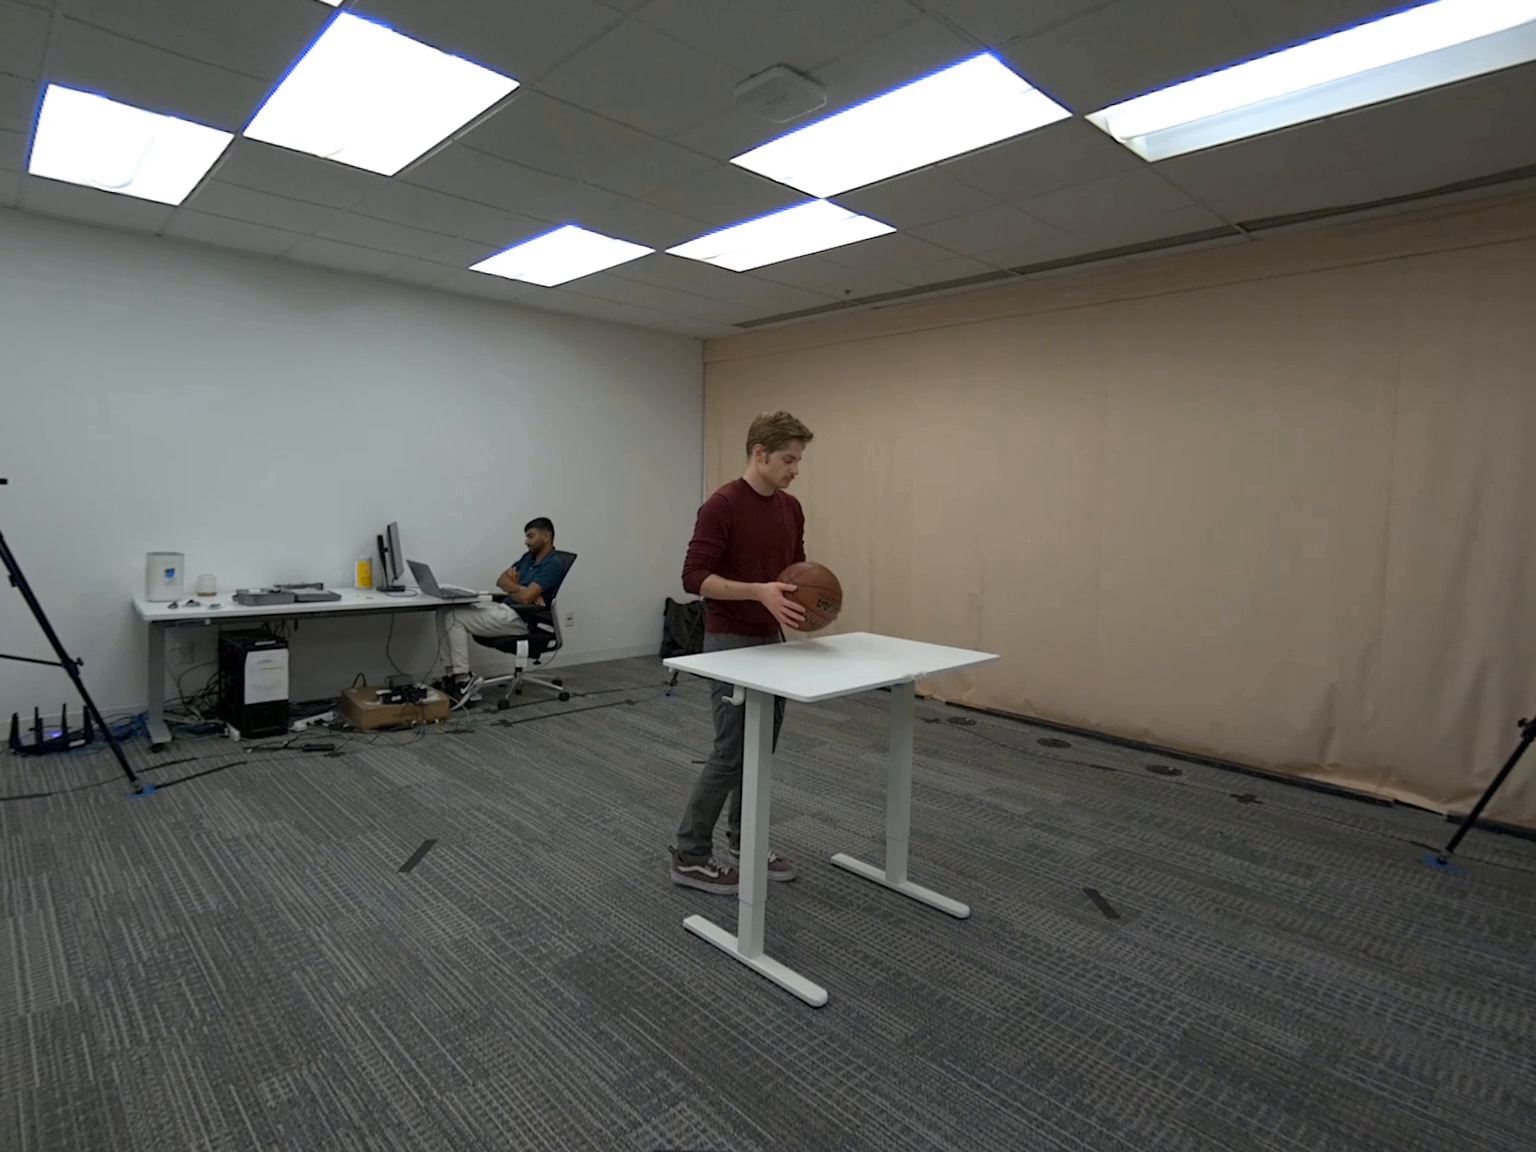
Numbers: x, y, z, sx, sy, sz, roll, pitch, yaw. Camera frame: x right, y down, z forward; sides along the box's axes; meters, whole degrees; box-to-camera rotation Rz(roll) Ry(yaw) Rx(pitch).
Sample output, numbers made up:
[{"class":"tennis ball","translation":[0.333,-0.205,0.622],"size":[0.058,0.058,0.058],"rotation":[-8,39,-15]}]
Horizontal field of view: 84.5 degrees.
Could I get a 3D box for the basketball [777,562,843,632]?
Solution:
[{"class":"basketball","translation":[0.119,0.062,2.861],"size":[0.236,0.235,0.237],"rotation":[1,4,-1]}]
